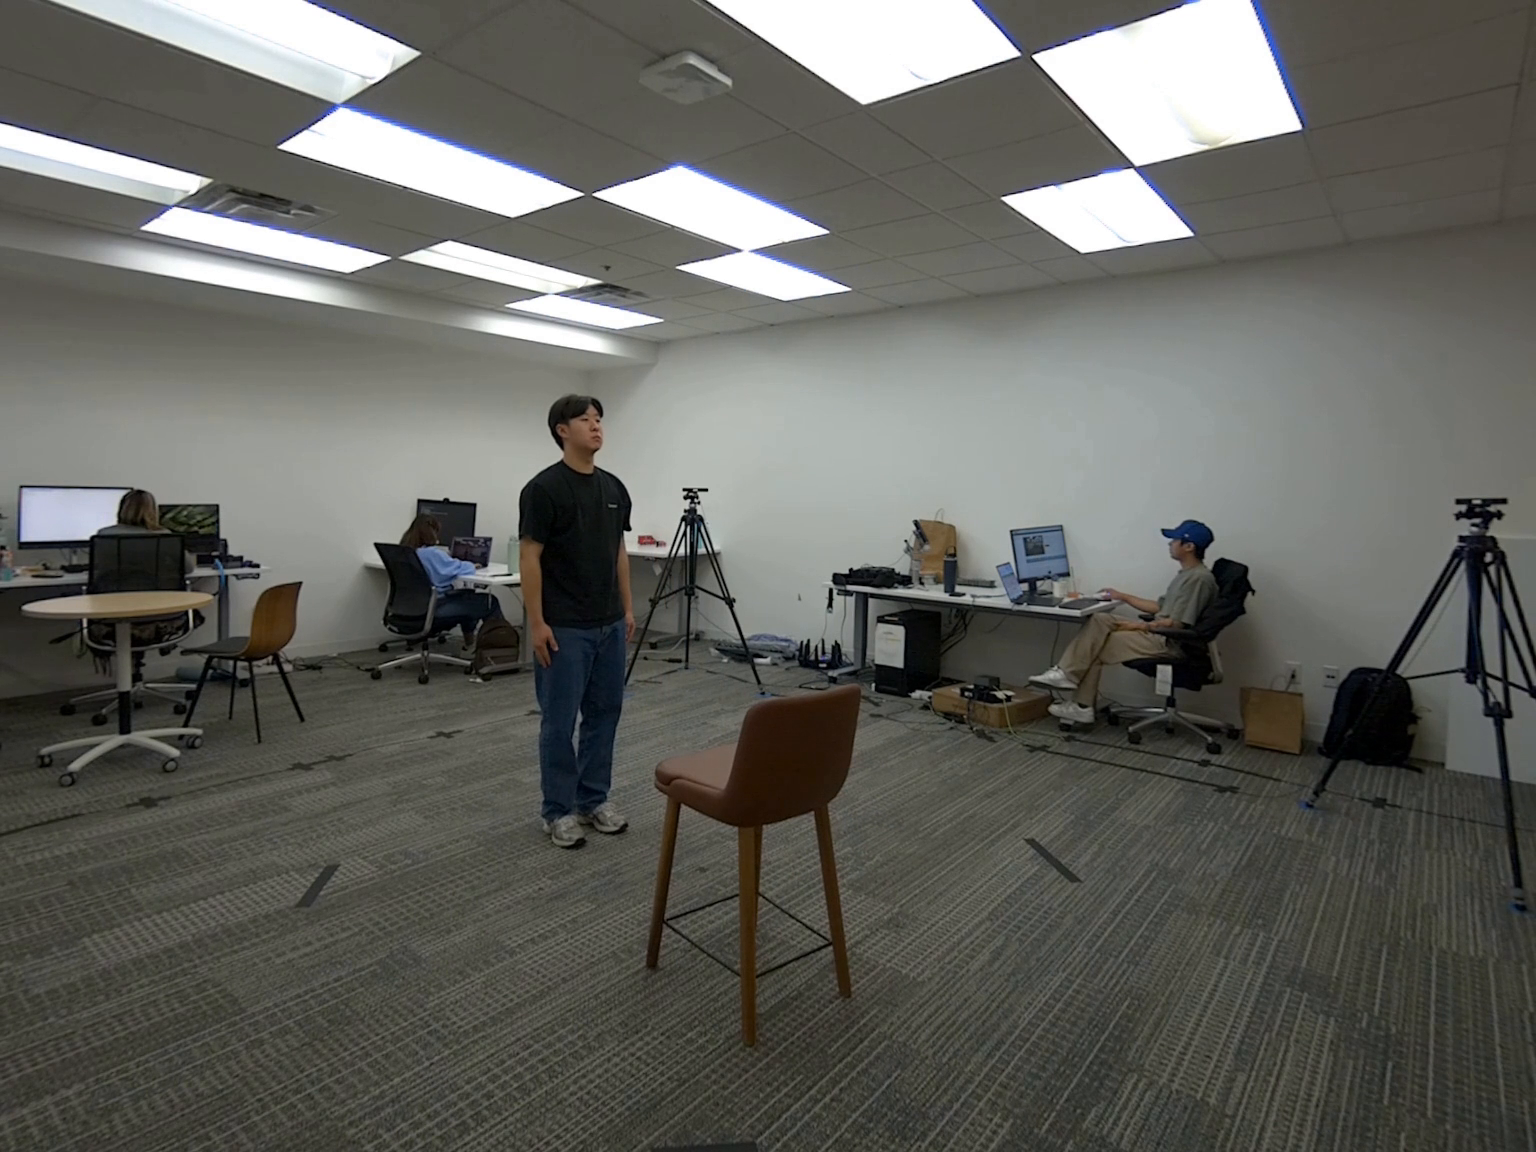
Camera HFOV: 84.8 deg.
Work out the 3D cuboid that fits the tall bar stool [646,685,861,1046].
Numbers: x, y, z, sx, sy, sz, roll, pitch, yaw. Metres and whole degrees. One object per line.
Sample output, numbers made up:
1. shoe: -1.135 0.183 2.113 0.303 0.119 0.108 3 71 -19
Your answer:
1. tall bar stool: -0.045 0.707 2.387 0.443 0.886 0.484 -1 6 -40
